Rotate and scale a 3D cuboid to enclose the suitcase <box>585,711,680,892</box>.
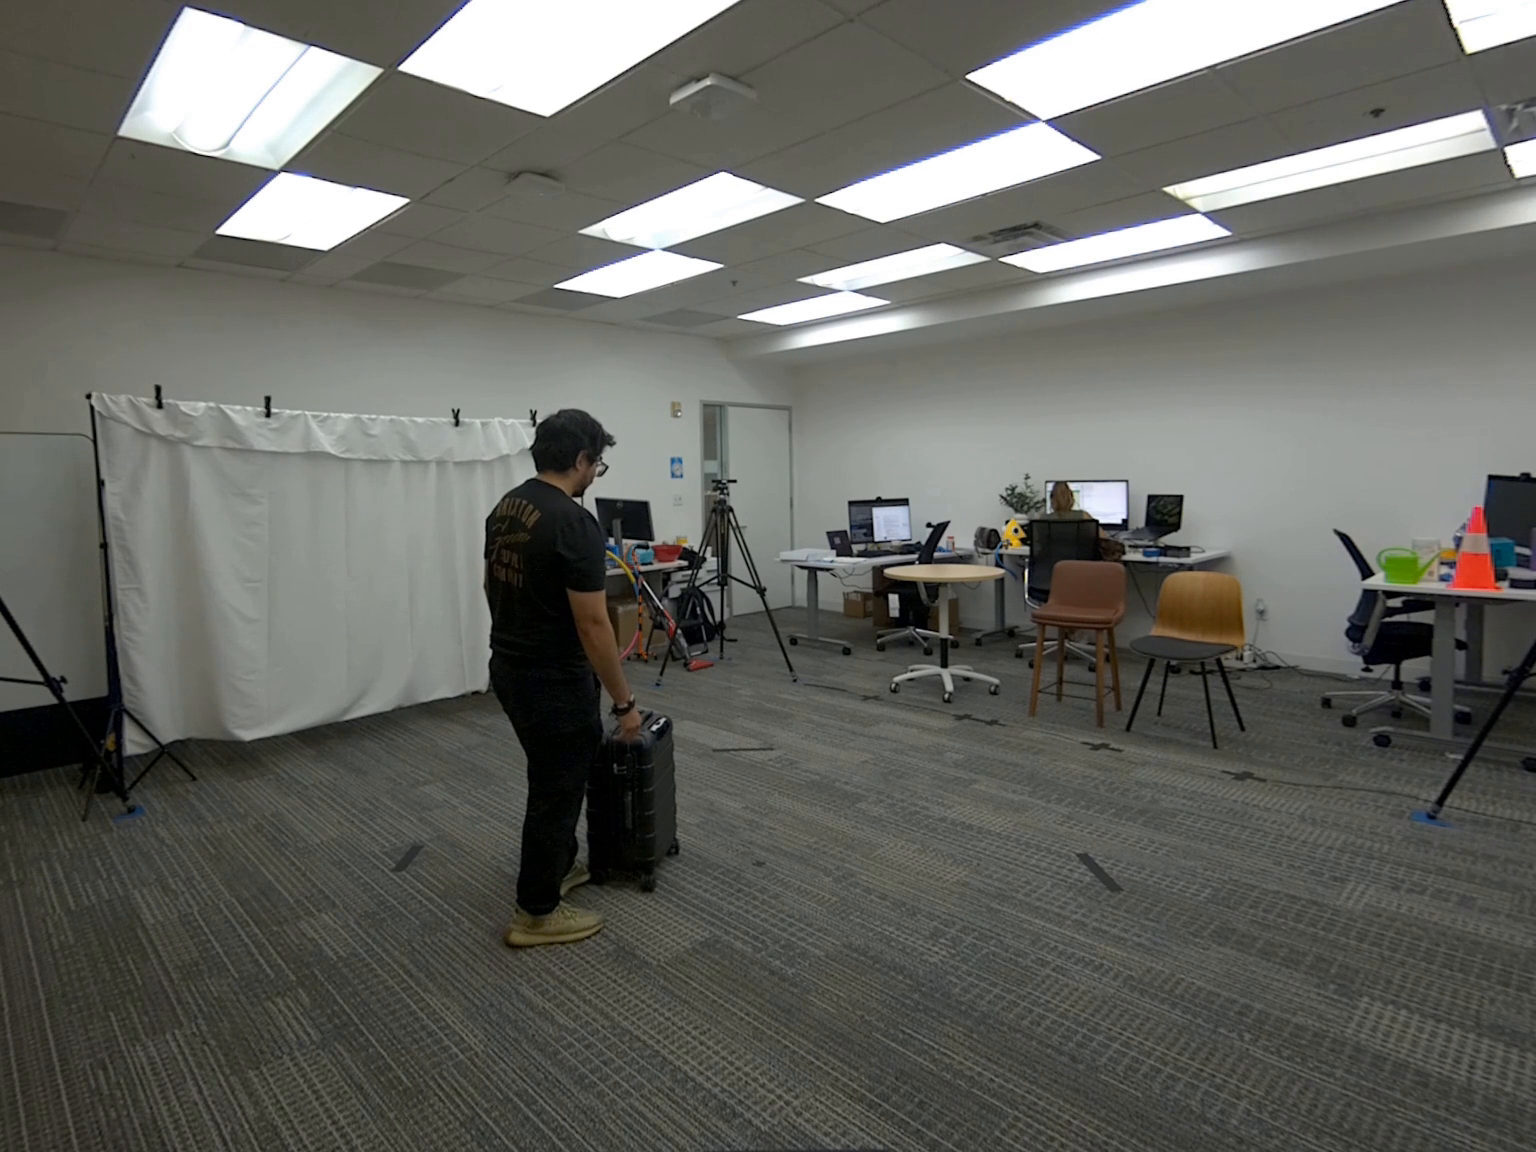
[{"bbox_3d":[-0.486,0.779,3.089,0.251,0.547,0.373,0,5,8],"label":"suitcase"}]
